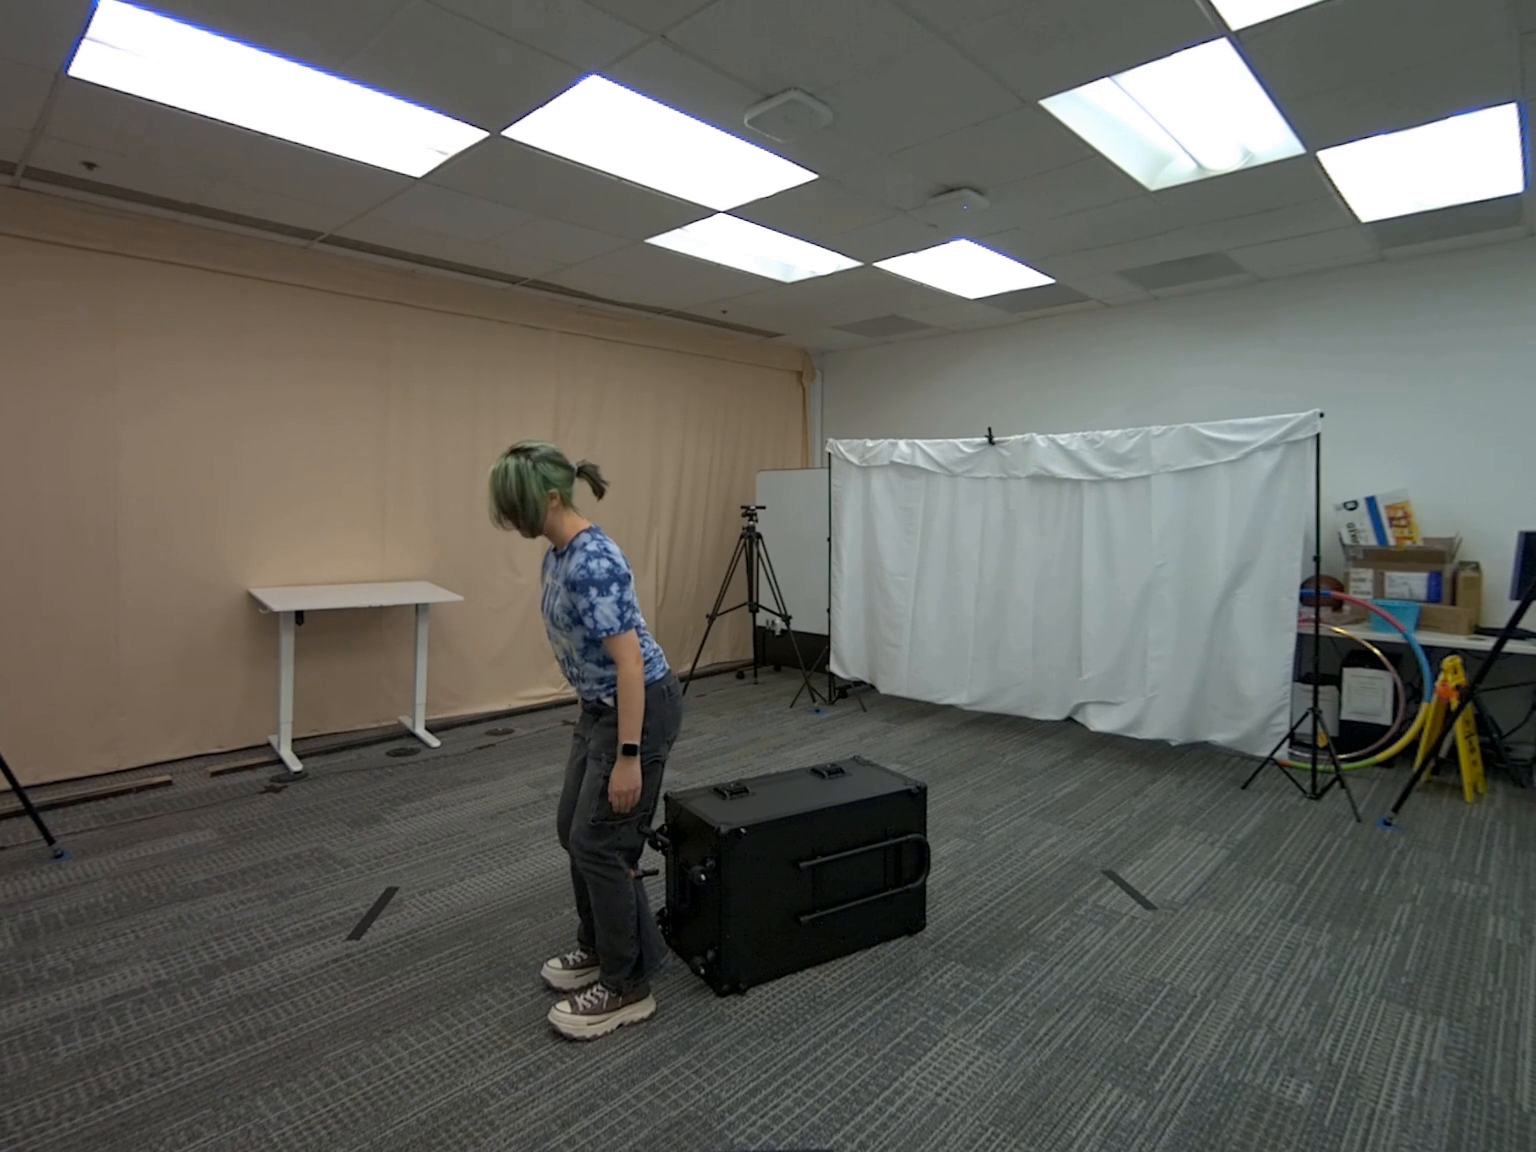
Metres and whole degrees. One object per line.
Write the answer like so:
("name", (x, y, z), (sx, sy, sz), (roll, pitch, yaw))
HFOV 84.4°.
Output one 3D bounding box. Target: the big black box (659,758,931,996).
("big black box", (0.081, 0.927, 2.685), (0.839, 0.520, 0.408), (-3, 5, -30))
